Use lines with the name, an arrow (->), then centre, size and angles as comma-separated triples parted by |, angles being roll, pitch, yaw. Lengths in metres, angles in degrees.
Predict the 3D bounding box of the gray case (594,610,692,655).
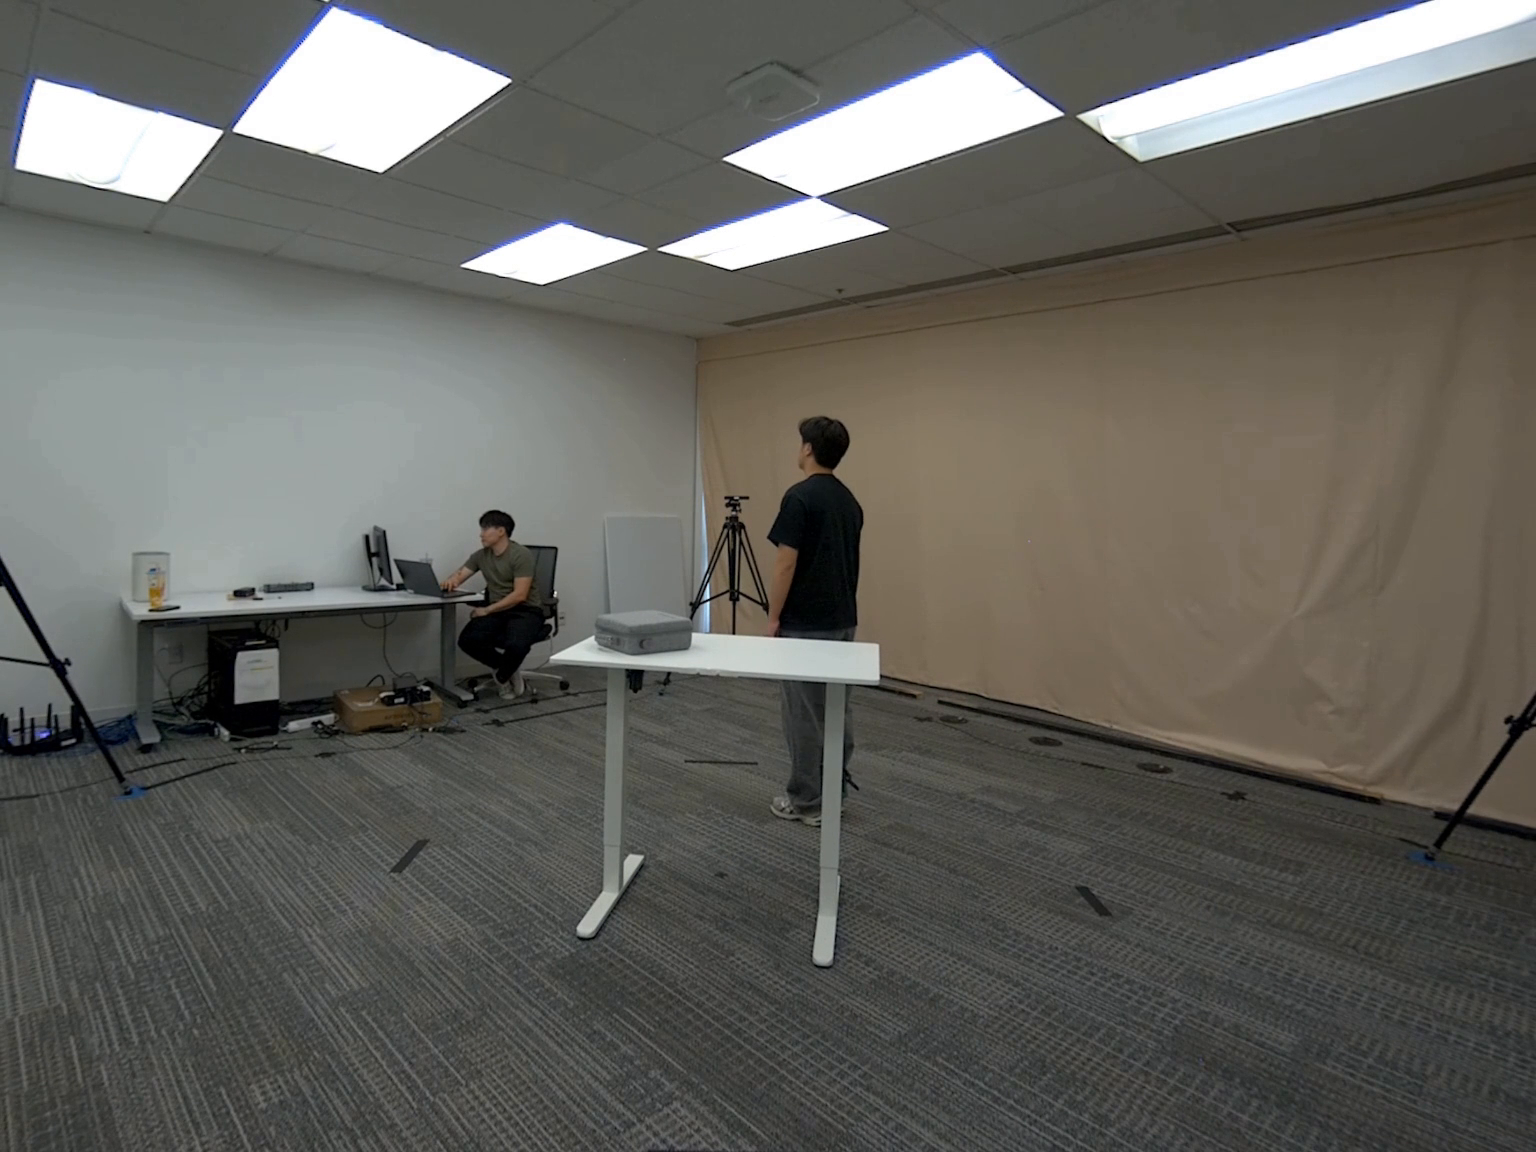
gray case -> -0.437, 0.188, 2.808 | 0.281, 0.102, 0.270 | -3, 8, -38
